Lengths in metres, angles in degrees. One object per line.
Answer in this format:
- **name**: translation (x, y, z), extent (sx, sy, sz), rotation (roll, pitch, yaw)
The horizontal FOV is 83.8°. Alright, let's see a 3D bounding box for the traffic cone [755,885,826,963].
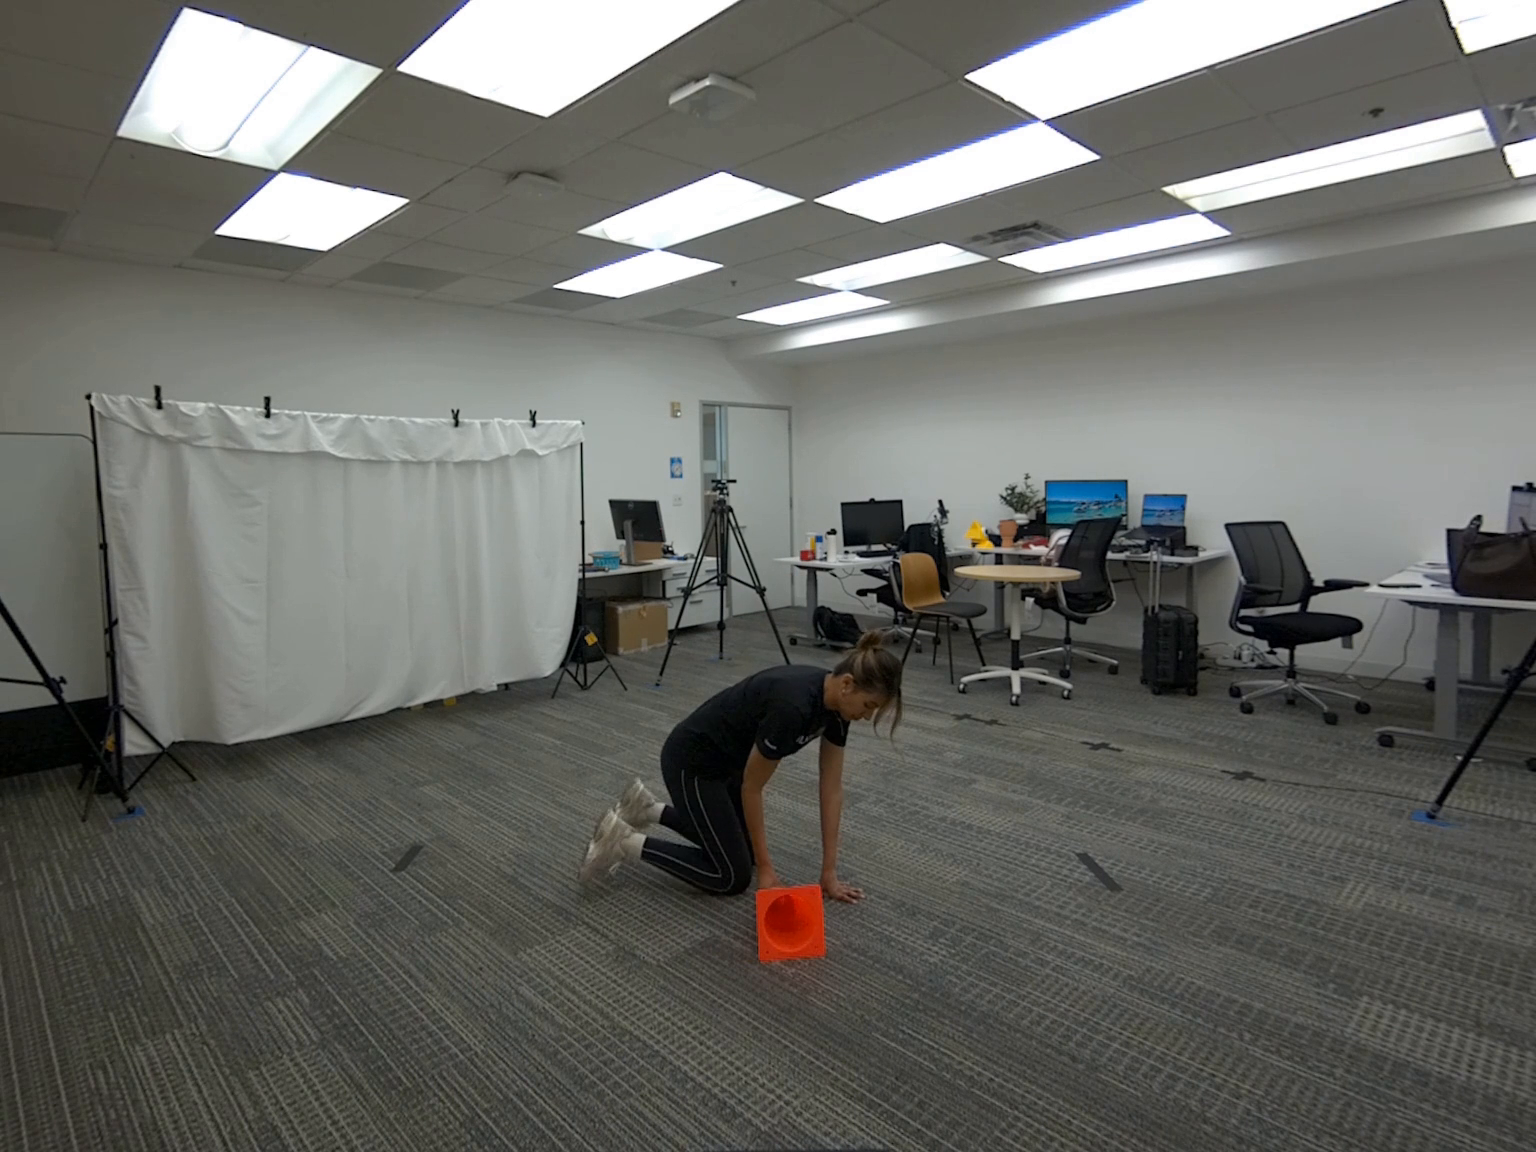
- **traffic cone**: translation (0.027, 1.047, 2.688), extent (0.203, 0.205, 0.384), rotation (-1, -7, -12)
